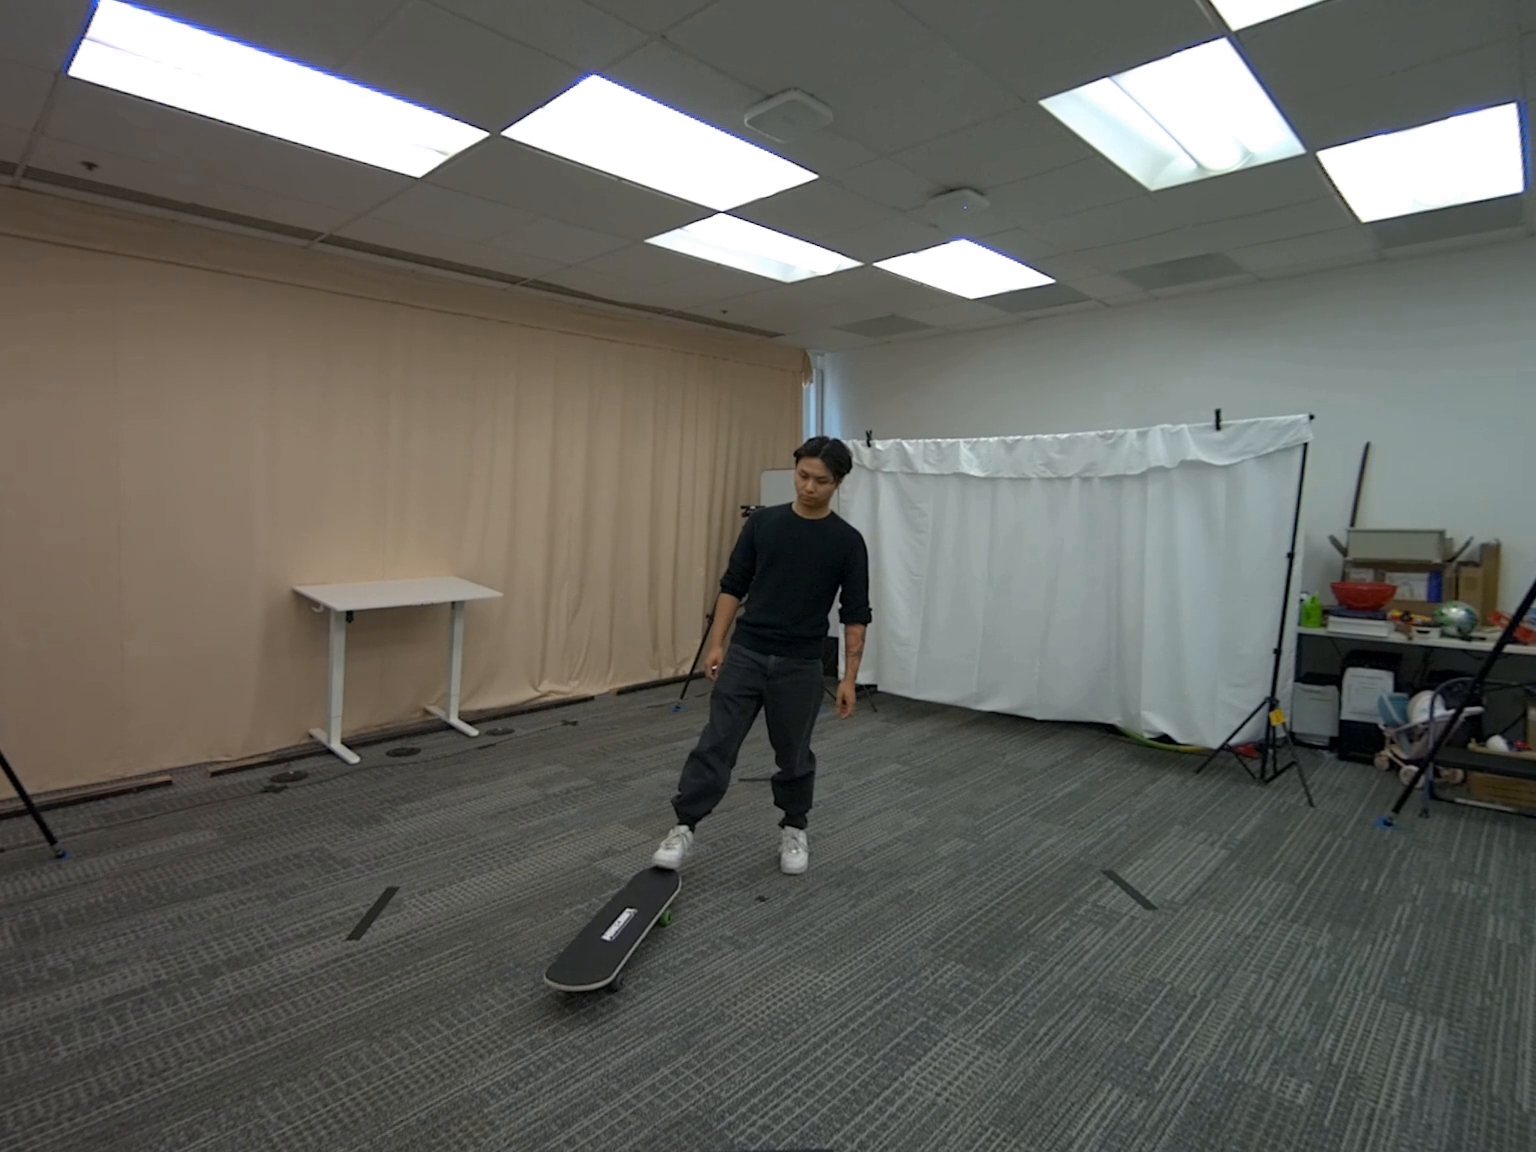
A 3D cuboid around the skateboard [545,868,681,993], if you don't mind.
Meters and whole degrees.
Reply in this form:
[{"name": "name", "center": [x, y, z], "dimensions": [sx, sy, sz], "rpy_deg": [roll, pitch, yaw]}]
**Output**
[{"name": "skateboard", "center": [-0.461, 1.120, 2.631], "dimensions": [0.197, 0.110, 0.774], "rpy_deg": [1, 4, 14]}]
